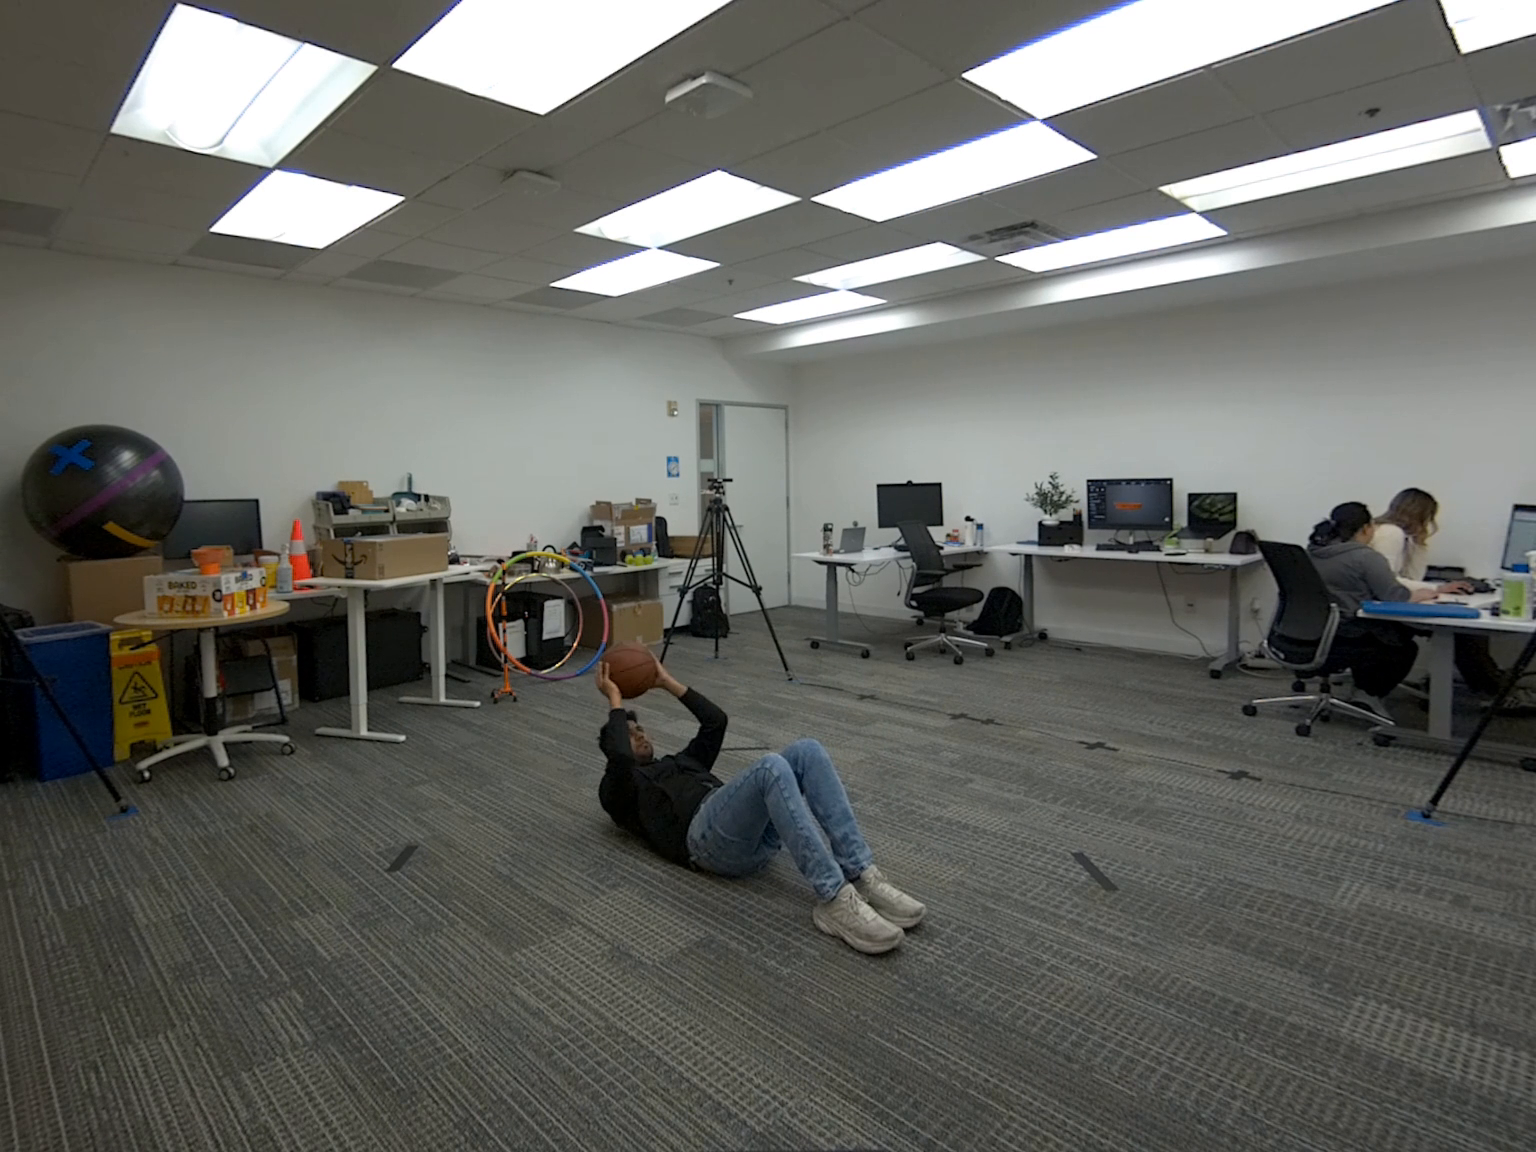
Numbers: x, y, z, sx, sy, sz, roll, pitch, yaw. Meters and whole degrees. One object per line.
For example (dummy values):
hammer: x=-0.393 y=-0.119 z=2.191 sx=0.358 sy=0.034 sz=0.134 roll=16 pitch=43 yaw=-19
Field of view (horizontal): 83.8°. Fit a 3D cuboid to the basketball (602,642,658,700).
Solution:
basketball: x=-0.572 y=0.407 z=3.530 sx=0.236 sy=0.235 sz=0.237 roll=-1 pitch=5 yaw=-2
